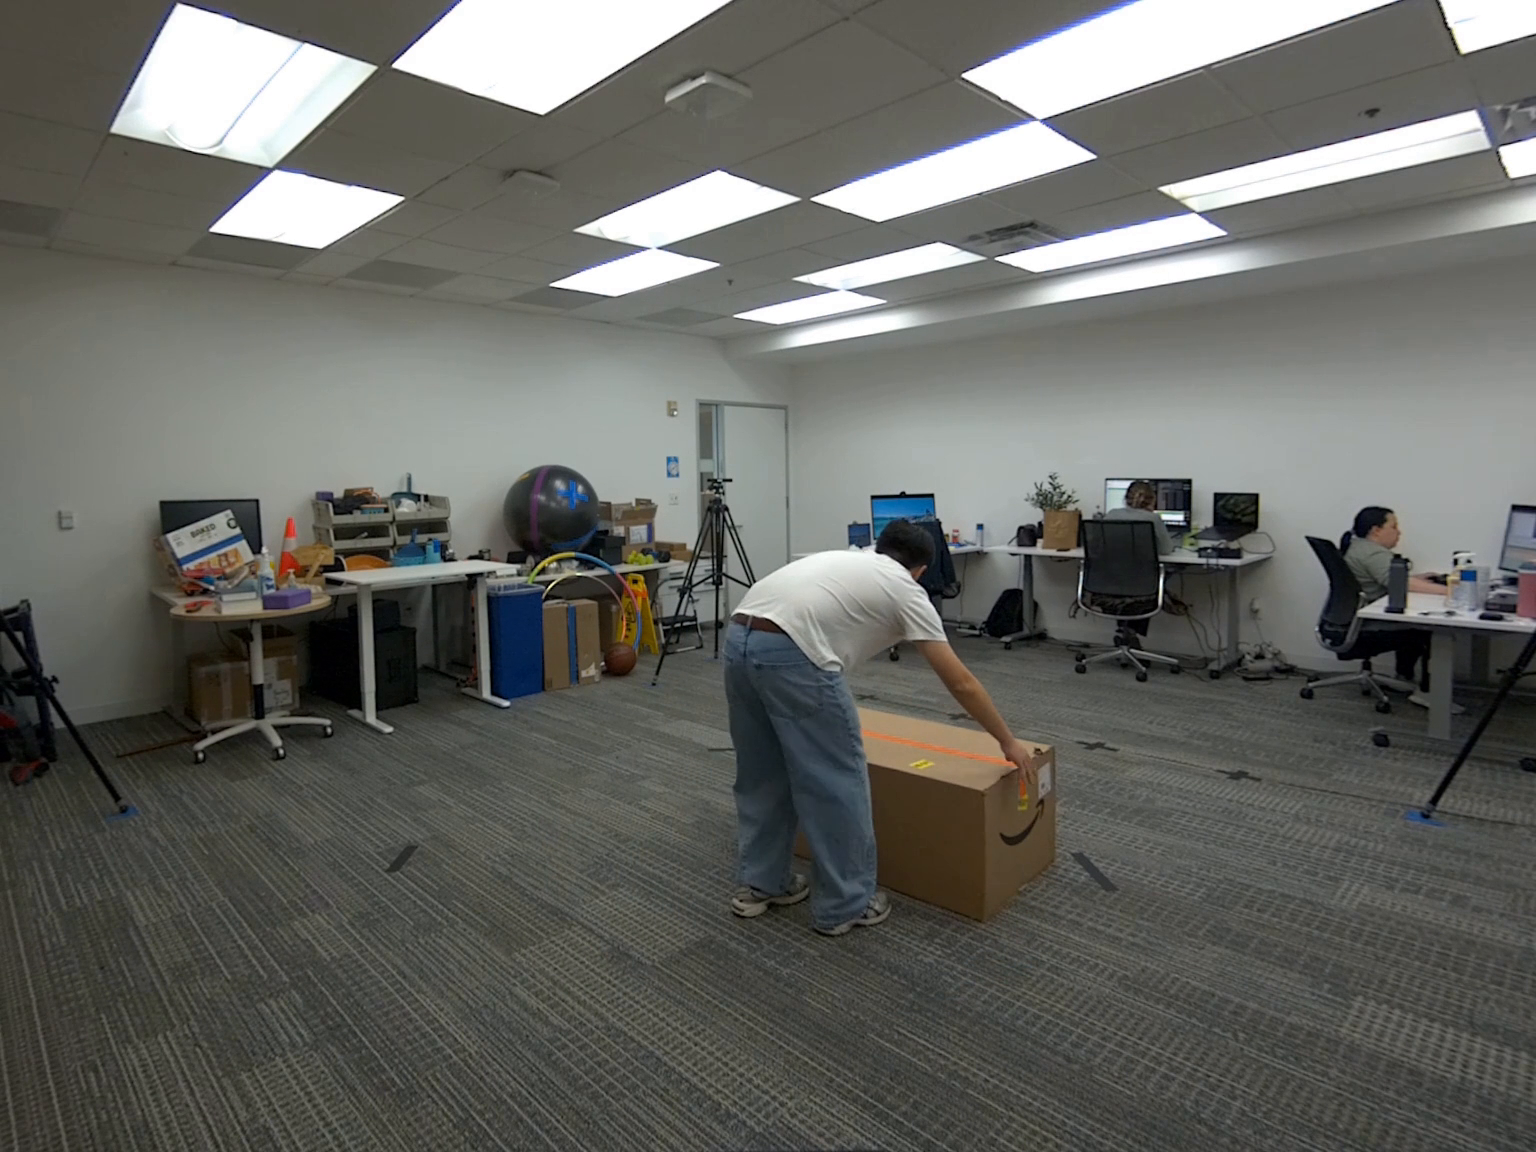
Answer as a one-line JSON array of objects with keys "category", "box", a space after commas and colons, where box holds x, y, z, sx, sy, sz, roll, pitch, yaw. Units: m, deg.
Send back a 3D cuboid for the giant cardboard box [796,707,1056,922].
[{"category": "giant cardboard box", "box": [0.461, 0.809, 3.207, 1.057, 0.424, 0.563, 5, 8, 41]}]
